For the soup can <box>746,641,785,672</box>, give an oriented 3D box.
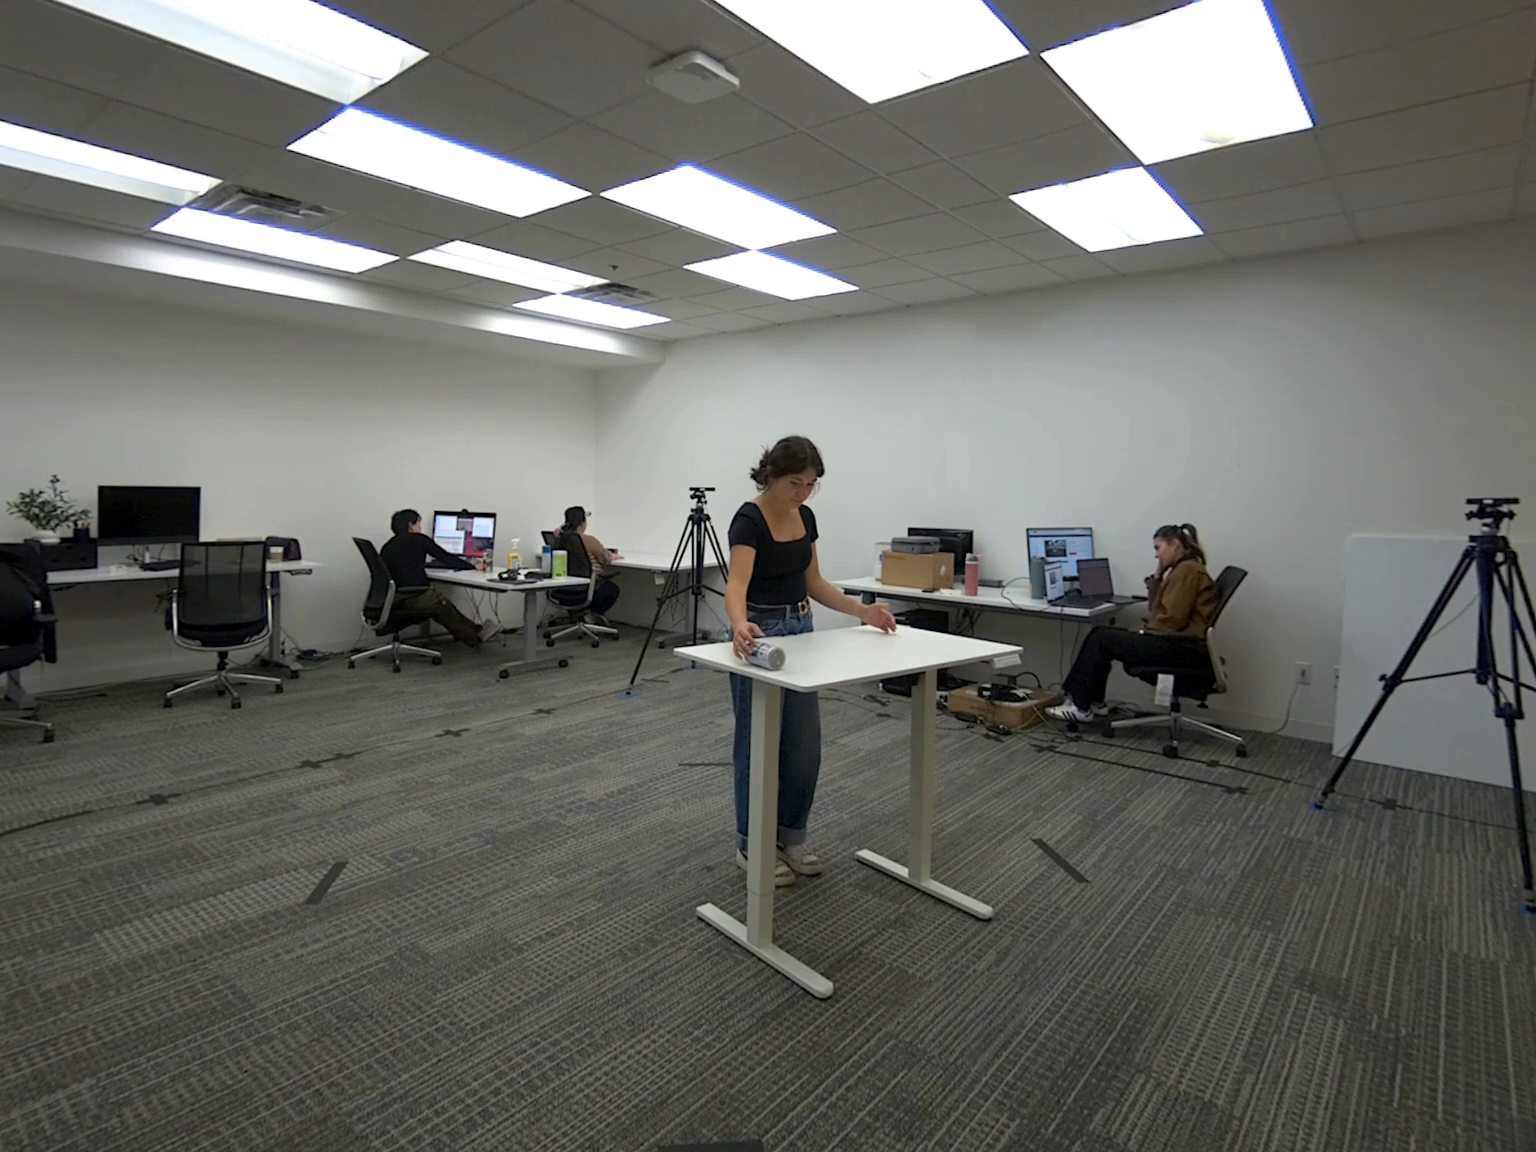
[{"bbox_3d":[-0.014,0.225,2.428,0.065,0.067,0.124,-1,0,-24],"label":"soup can"}]
